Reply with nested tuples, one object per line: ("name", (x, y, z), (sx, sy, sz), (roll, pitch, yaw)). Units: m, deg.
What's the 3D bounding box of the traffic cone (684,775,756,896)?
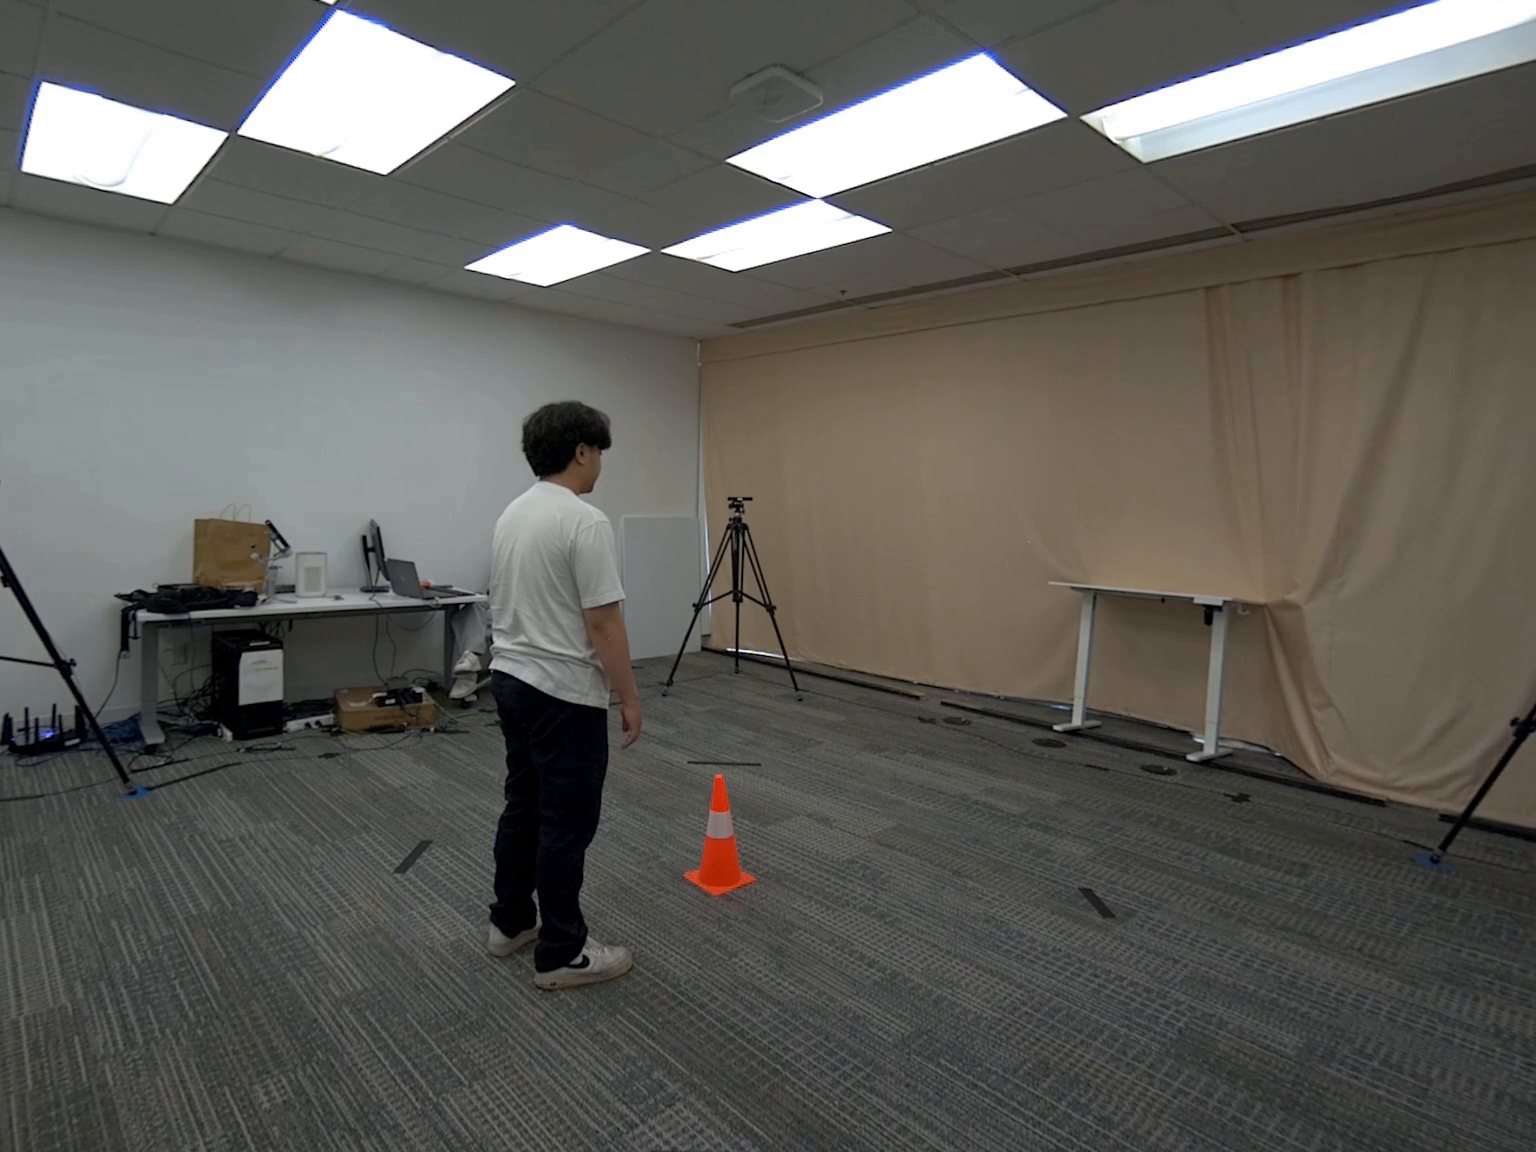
("traffic cone", (-0.184, 0.926, 3.079), (0.210, 0.383, 0.199), (3, 4, 42))
